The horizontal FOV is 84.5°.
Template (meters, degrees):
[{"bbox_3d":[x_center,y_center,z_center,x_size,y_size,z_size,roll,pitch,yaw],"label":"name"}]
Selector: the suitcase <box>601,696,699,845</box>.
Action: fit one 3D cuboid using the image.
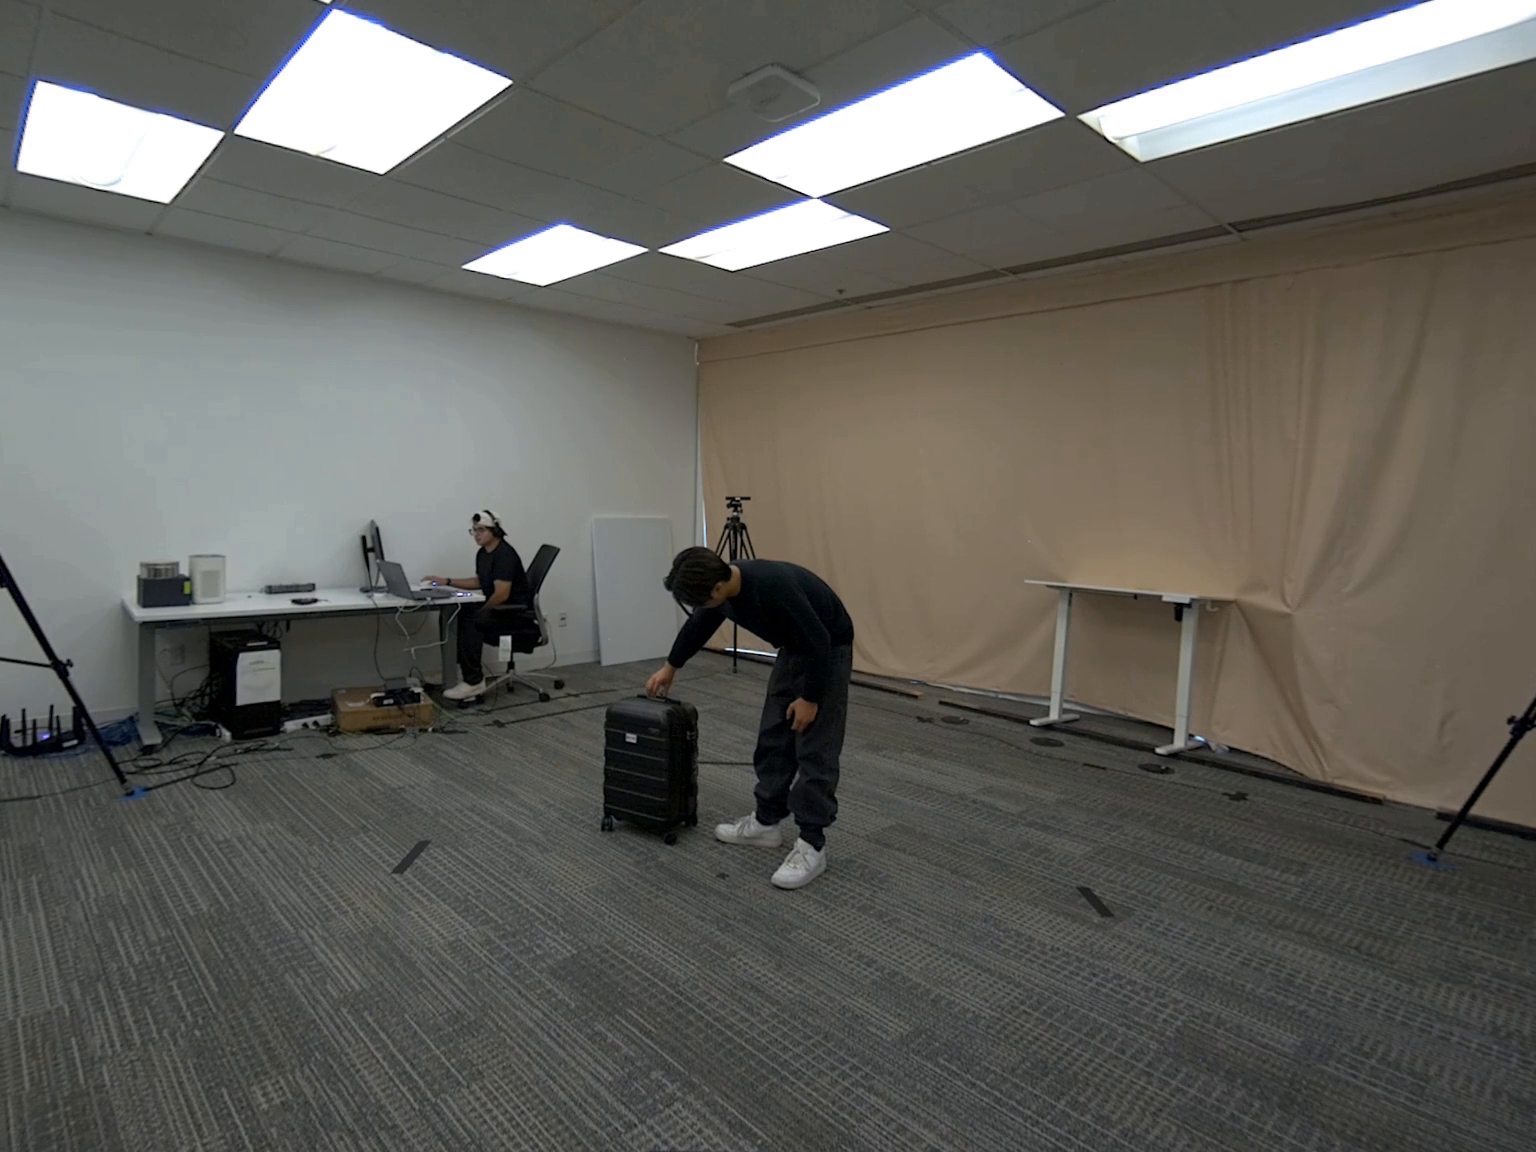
[{"bbox_3d":[-0.494,0.784,3.529,0.383,0.548,0.244,4,5,29],"label":"suitcase"}]
